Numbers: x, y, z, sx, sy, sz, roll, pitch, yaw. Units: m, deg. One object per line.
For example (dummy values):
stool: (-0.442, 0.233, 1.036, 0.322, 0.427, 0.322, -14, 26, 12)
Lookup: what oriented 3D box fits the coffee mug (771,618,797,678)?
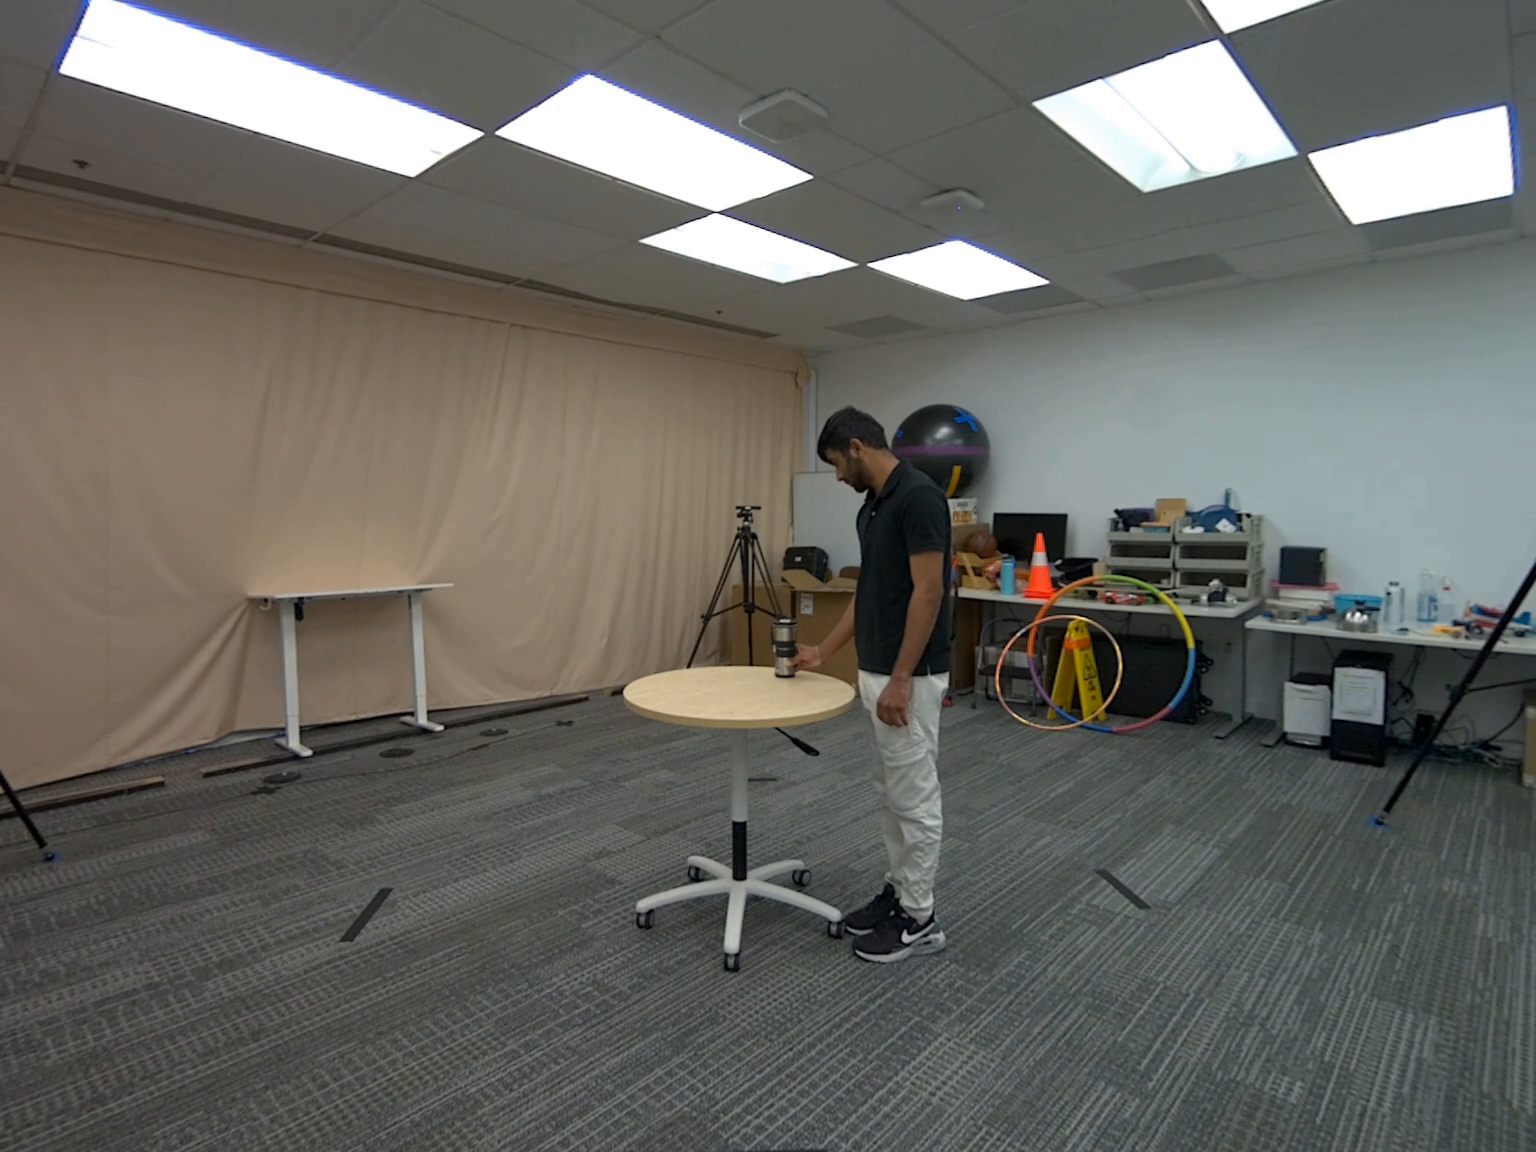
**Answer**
coffee mug: (0.069, 0.254, 3.017, 0.087, 0.202, 0.123, -2, 6, -10)
